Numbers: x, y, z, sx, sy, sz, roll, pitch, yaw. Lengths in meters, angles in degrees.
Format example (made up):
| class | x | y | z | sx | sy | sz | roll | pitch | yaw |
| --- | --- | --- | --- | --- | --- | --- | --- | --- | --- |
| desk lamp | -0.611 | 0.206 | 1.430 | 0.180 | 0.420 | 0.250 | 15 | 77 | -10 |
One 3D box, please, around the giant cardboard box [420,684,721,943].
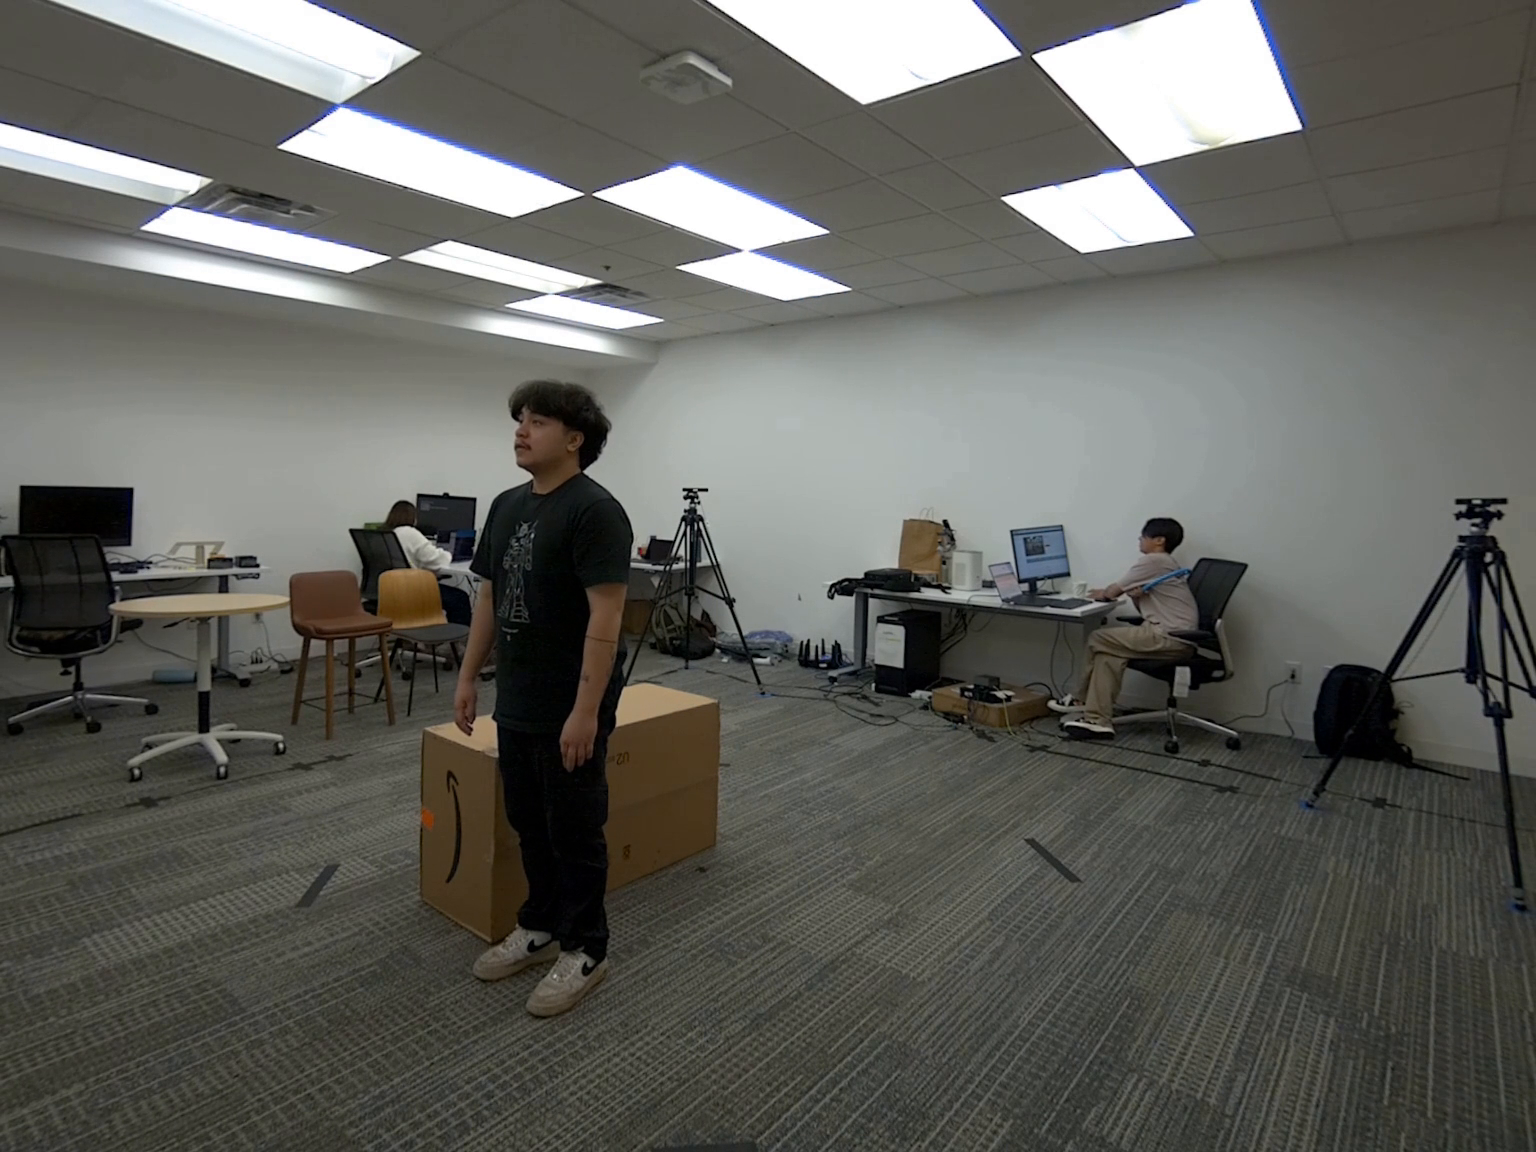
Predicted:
| class | x | y | z | sx | sy | sz | roll | pitch | yaw |
| --- | --- | --- | --- | --- | --- | --- | --- | --- | --- |
| giant cardboard box | -0.686 | 0.781 | 3.073 | 0.461 | 0.582 | 0.996 | 3 | 4 | 39 |
